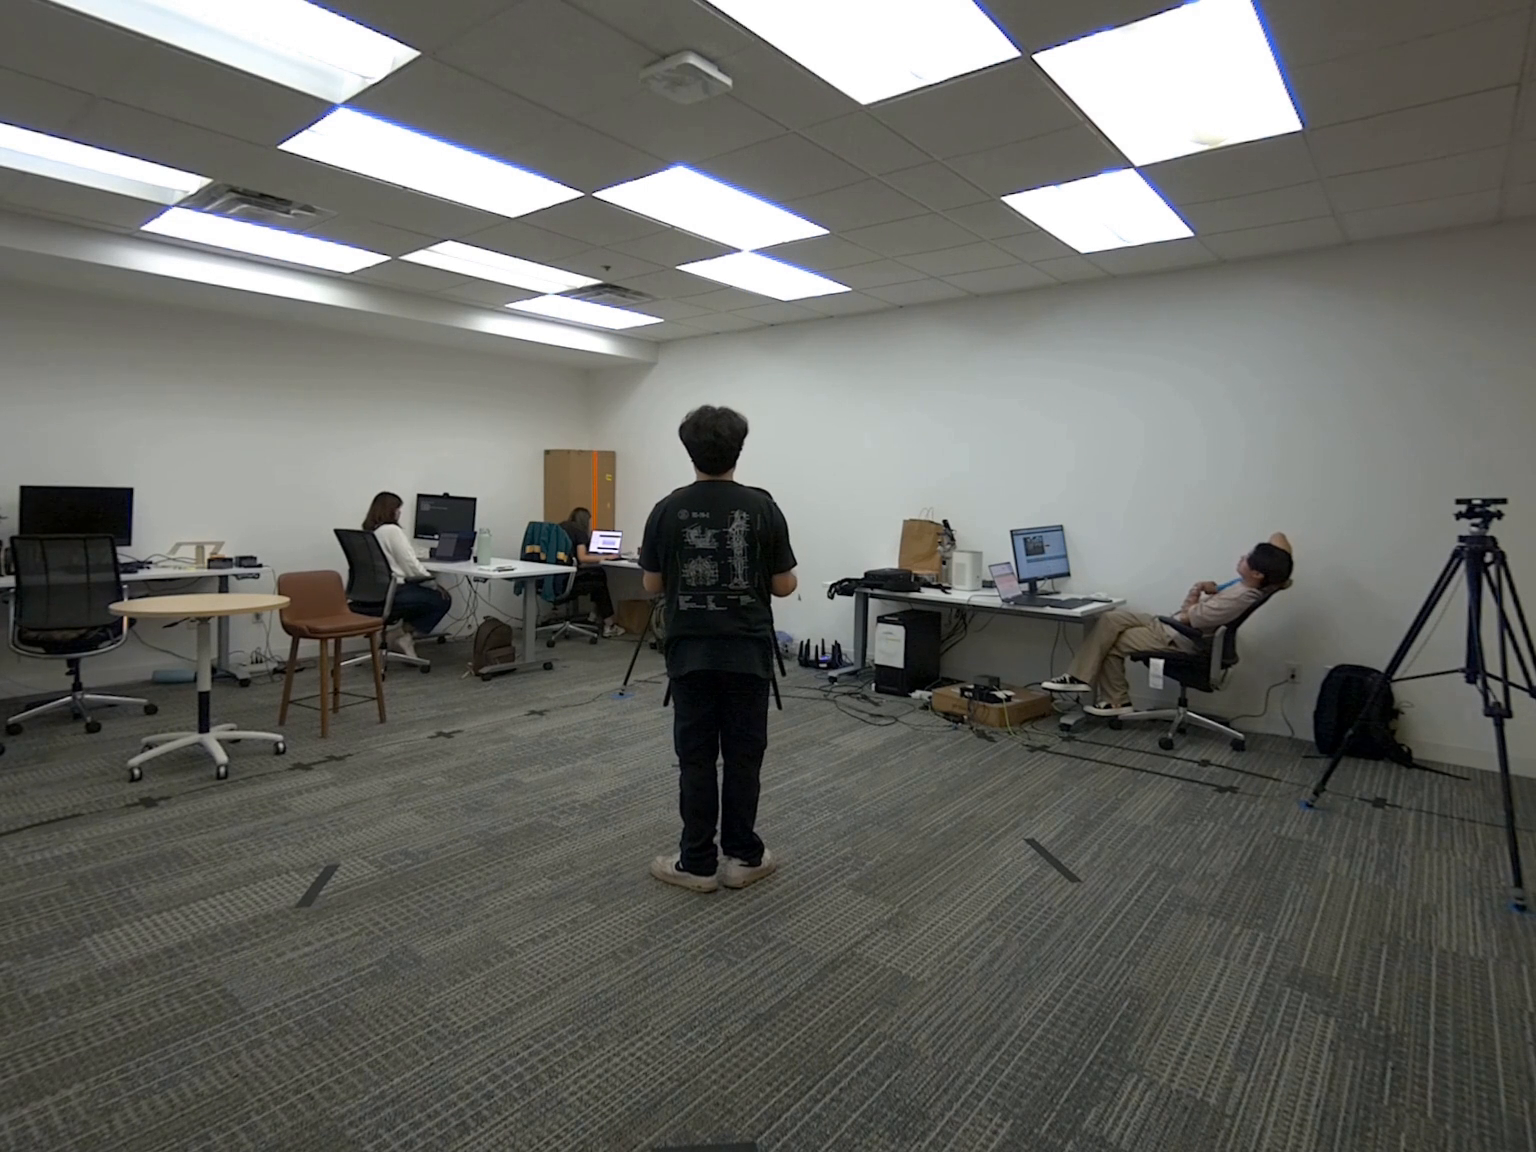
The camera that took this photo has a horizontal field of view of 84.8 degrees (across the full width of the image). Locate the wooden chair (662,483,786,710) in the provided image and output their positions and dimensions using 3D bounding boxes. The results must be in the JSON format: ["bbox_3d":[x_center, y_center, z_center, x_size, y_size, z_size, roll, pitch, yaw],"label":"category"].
[{"bbox_3d":[-0.170,0.041,3.365,0.481,0.868,0.525,-1,11,5],"label":"wooden chair"}]
